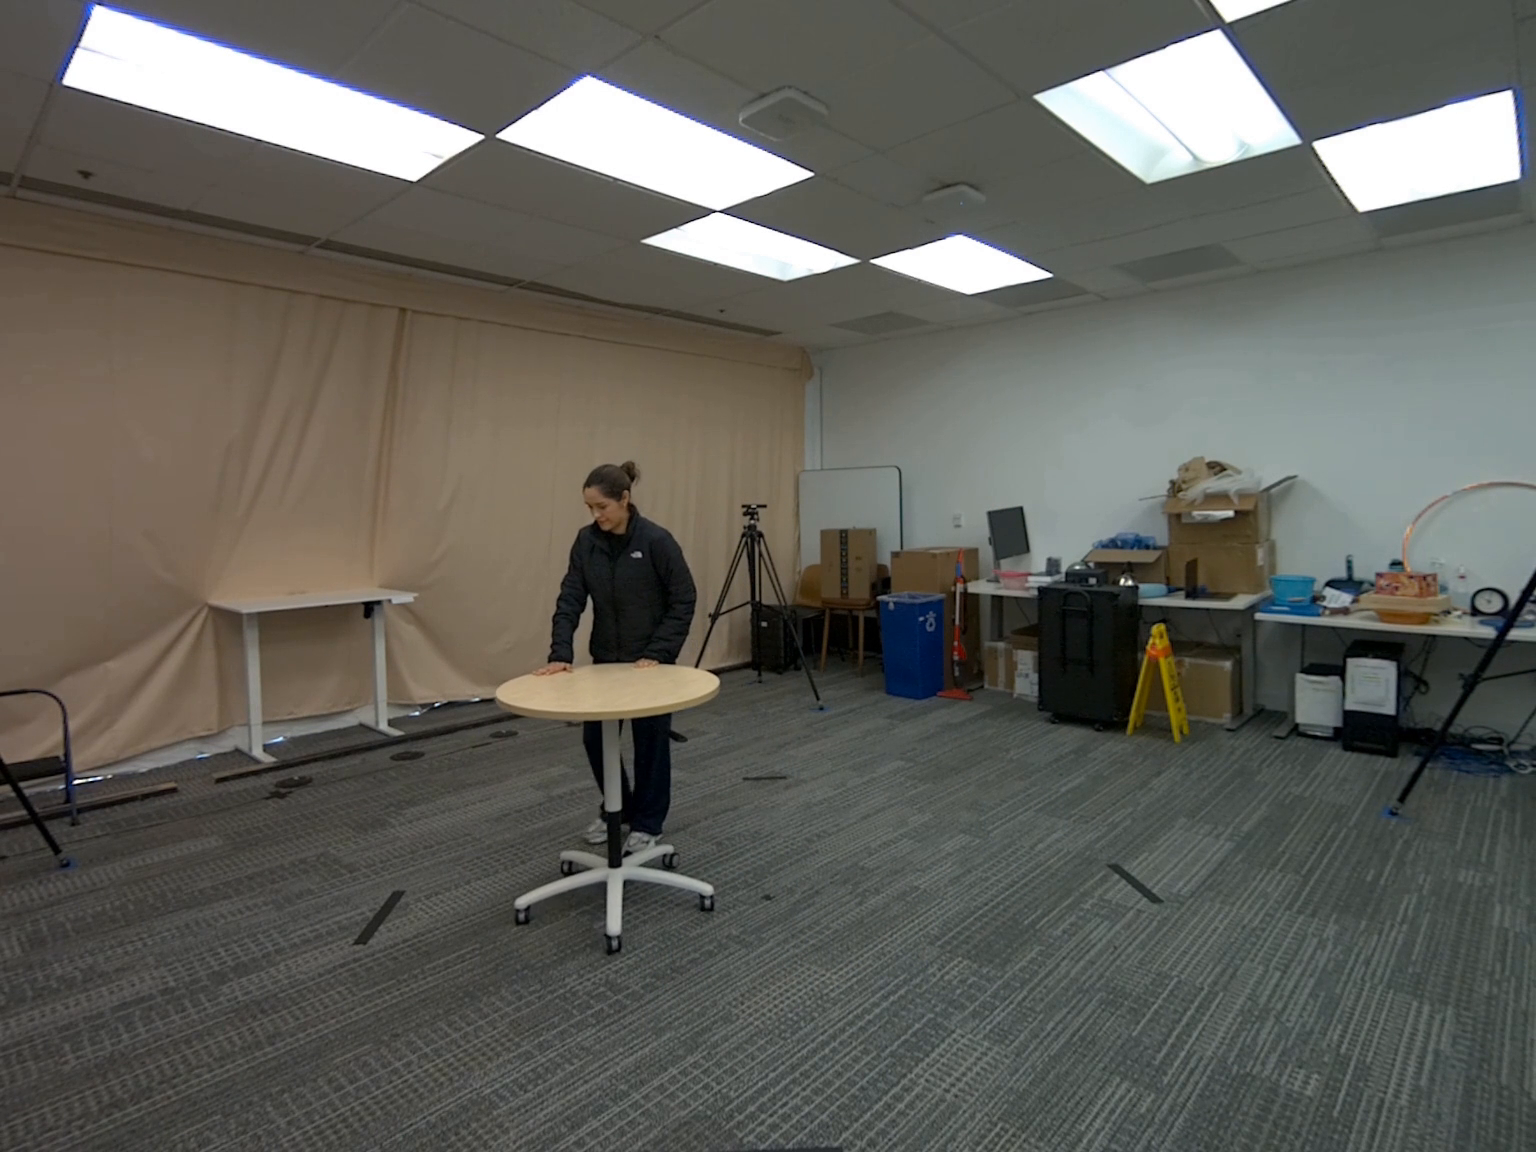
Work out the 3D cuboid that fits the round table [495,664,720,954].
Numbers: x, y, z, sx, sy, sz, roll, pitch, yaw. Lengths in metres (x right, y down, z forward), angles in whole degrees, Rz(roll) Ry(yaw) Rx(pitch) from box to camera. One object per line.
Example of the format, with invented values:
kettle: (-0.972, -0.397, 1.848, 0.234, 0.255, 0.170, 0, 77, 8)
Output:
round table: (-0.542, 0.759, 2.949, 0.784, 0.785, 0.788, -2, 4, -2)
